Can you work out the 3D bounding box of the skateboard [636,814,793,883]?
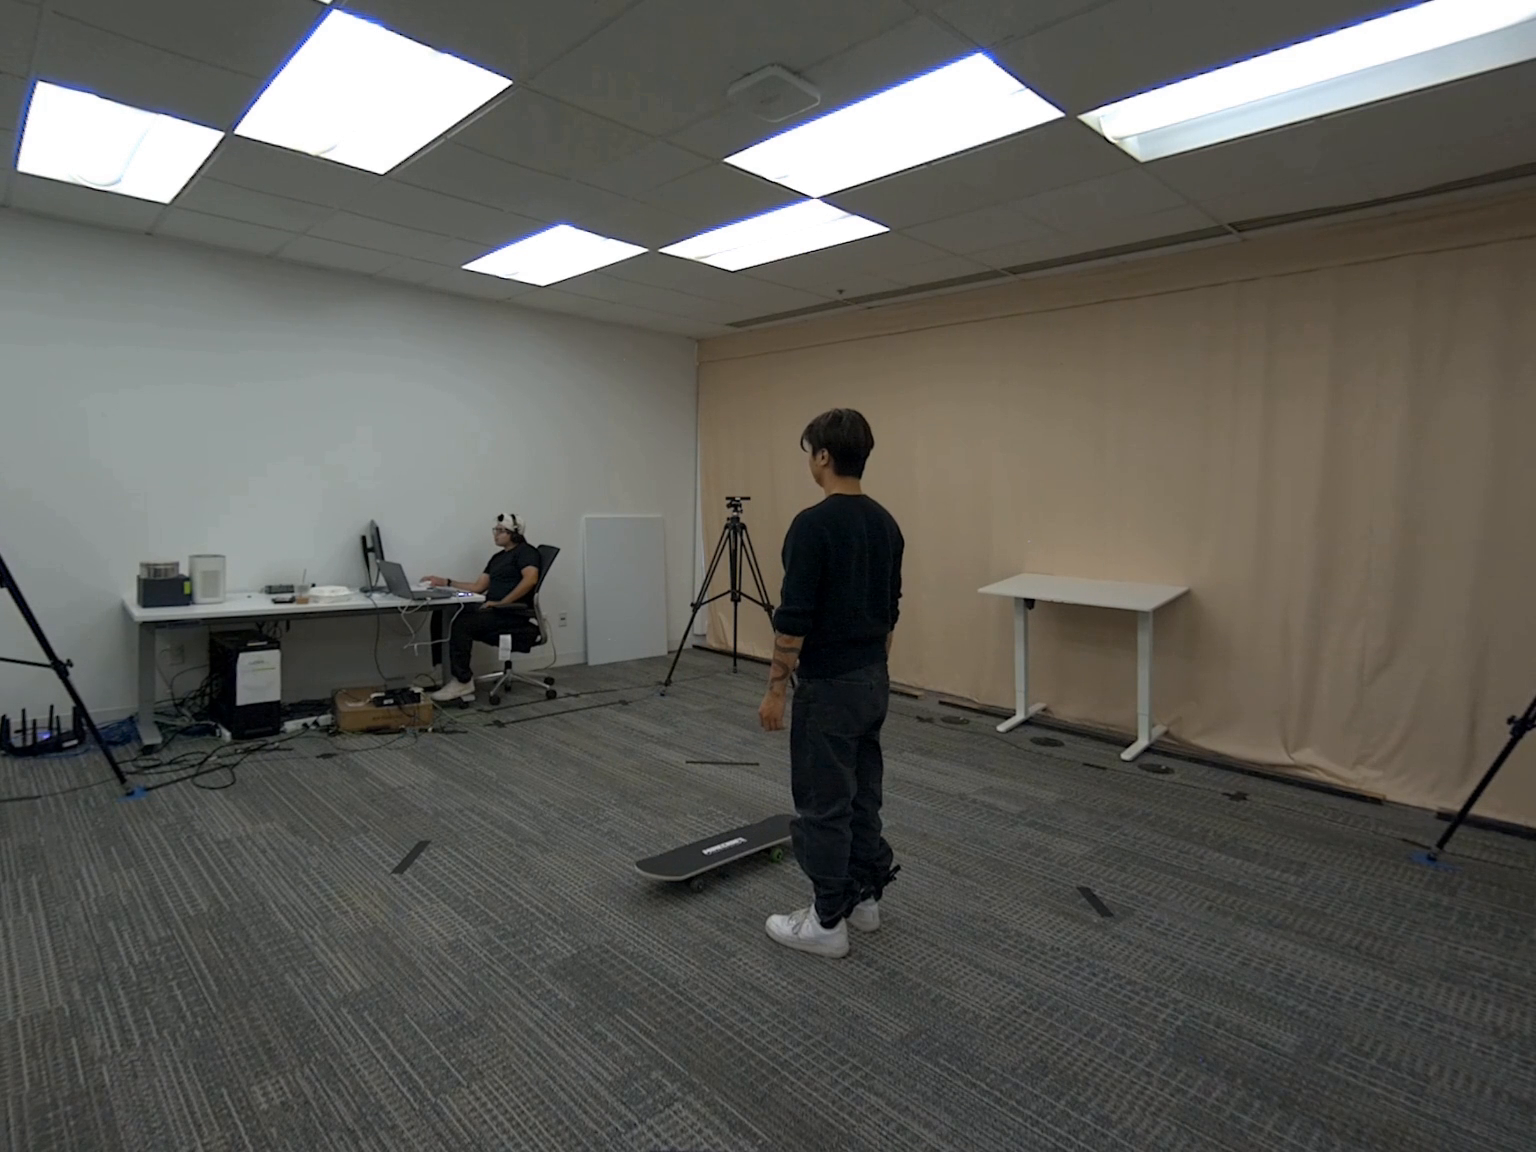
[{"bbox_3d":[-0.167,1.042,3.154,0.767,0.110,0.198,-3,6,-44],"label":"skateboard"}]
